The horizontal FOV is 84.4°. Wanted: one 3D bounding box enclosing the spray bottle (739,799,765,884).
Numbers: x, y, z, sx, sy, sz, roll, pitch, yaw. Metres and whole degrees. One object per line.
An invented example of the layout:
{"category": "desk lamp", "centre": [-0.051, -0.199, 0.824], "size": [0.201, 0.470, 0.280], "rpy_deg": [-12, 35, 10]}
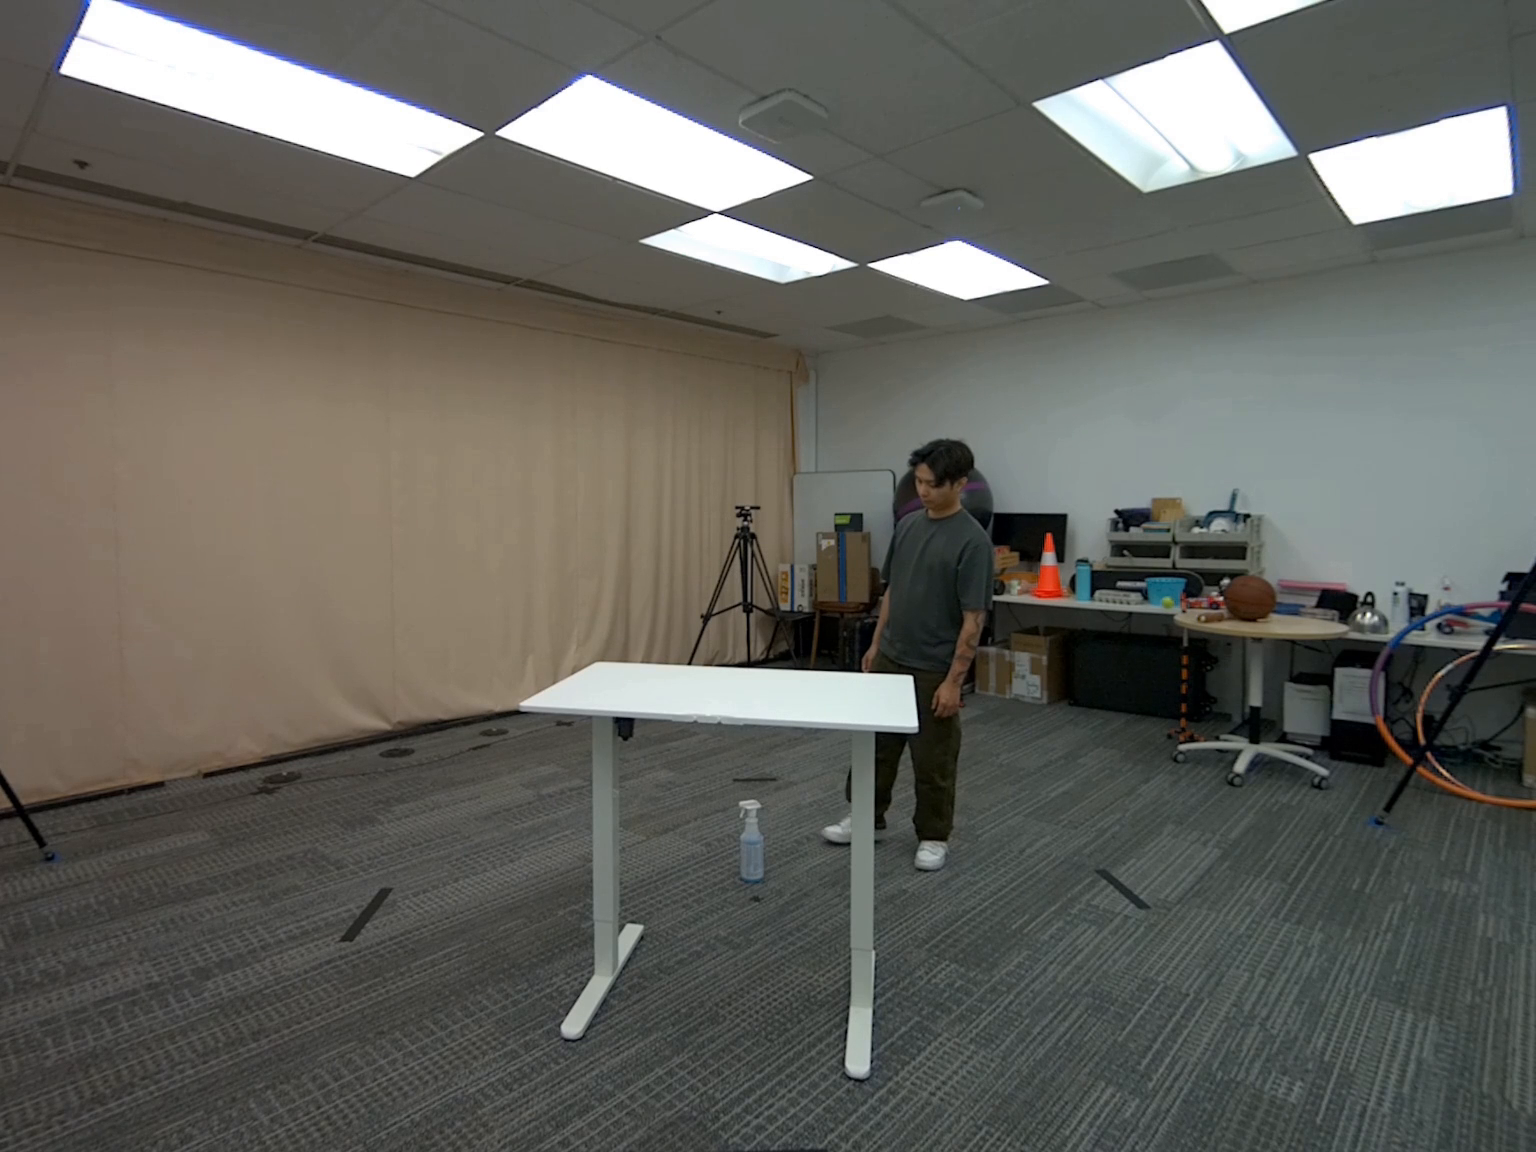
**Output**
{"category": "spray bottle", "centre": [-0.059, 0.986, 3.141], "size": [0.090, 0.296, 0.087], "rpy_deg": [-1, 4, -3]}
